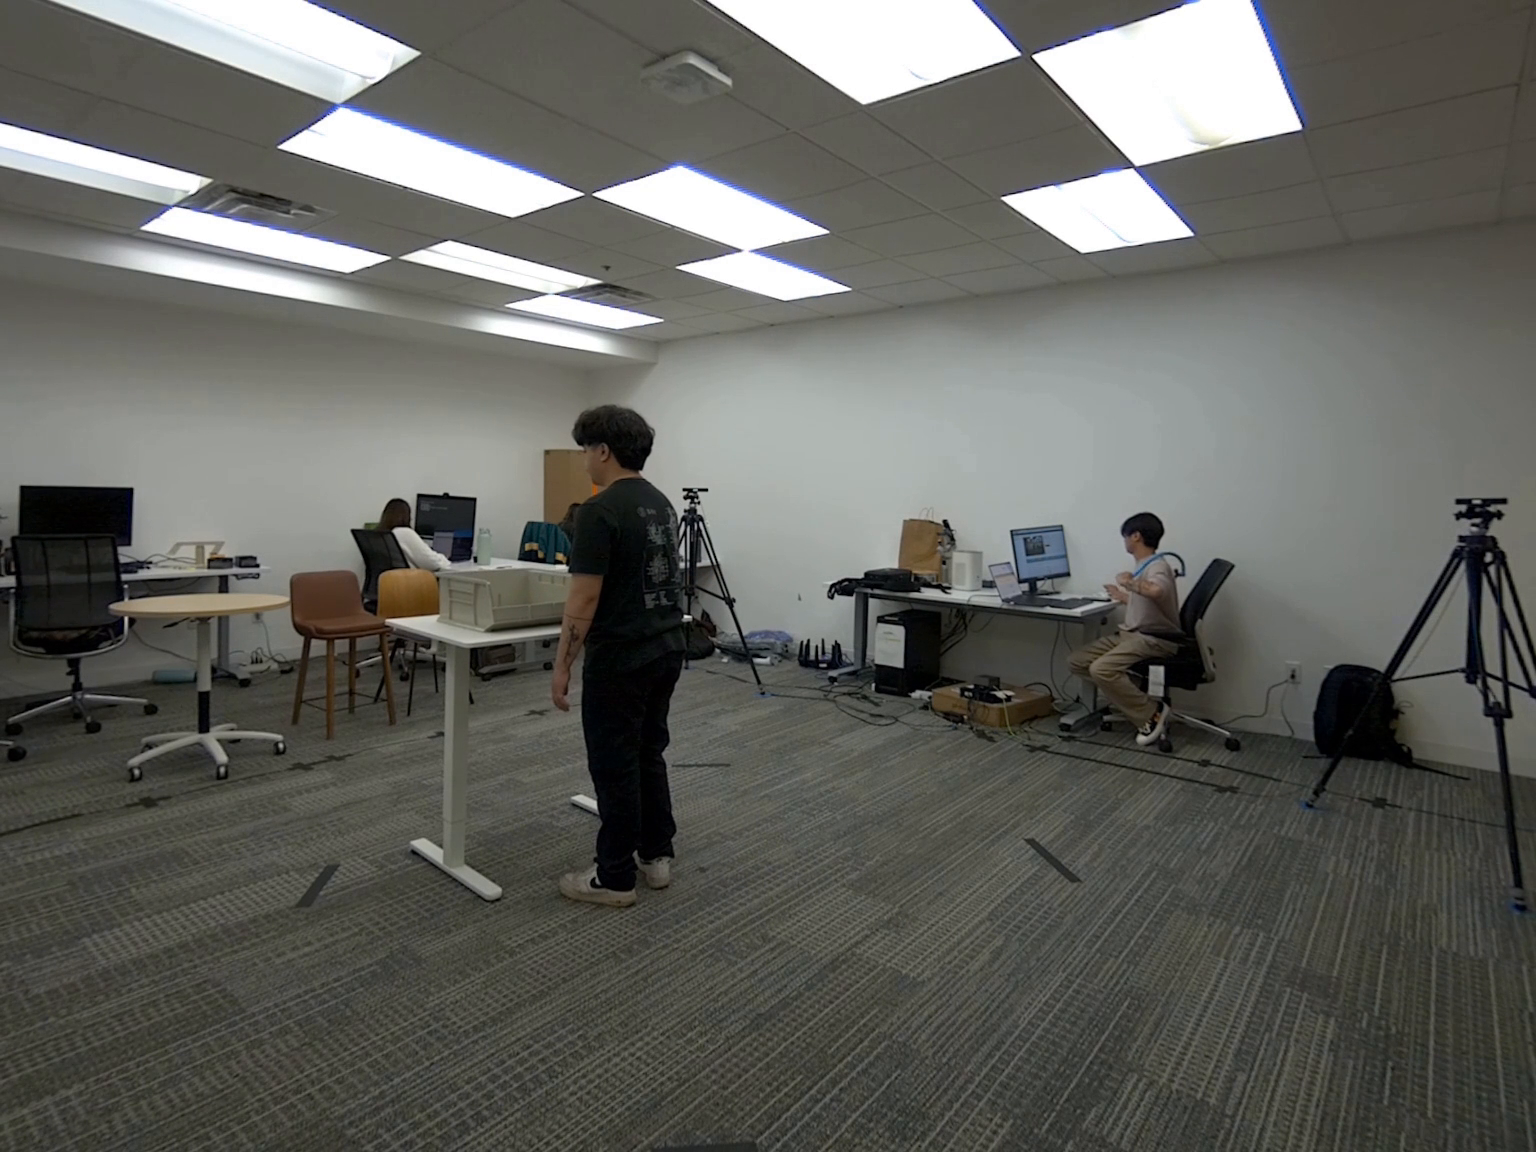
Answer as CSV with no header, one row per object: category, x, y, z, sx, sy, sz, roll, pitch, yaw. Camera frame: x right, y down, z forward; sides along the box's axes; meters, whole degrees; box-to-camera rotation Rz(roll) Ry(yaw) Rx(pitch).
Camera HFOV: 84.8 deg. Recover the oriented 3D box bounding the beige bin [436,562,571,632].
beige bin,-0.966,0.085,3.152,0.390,0.188,0.410,5,7,40
